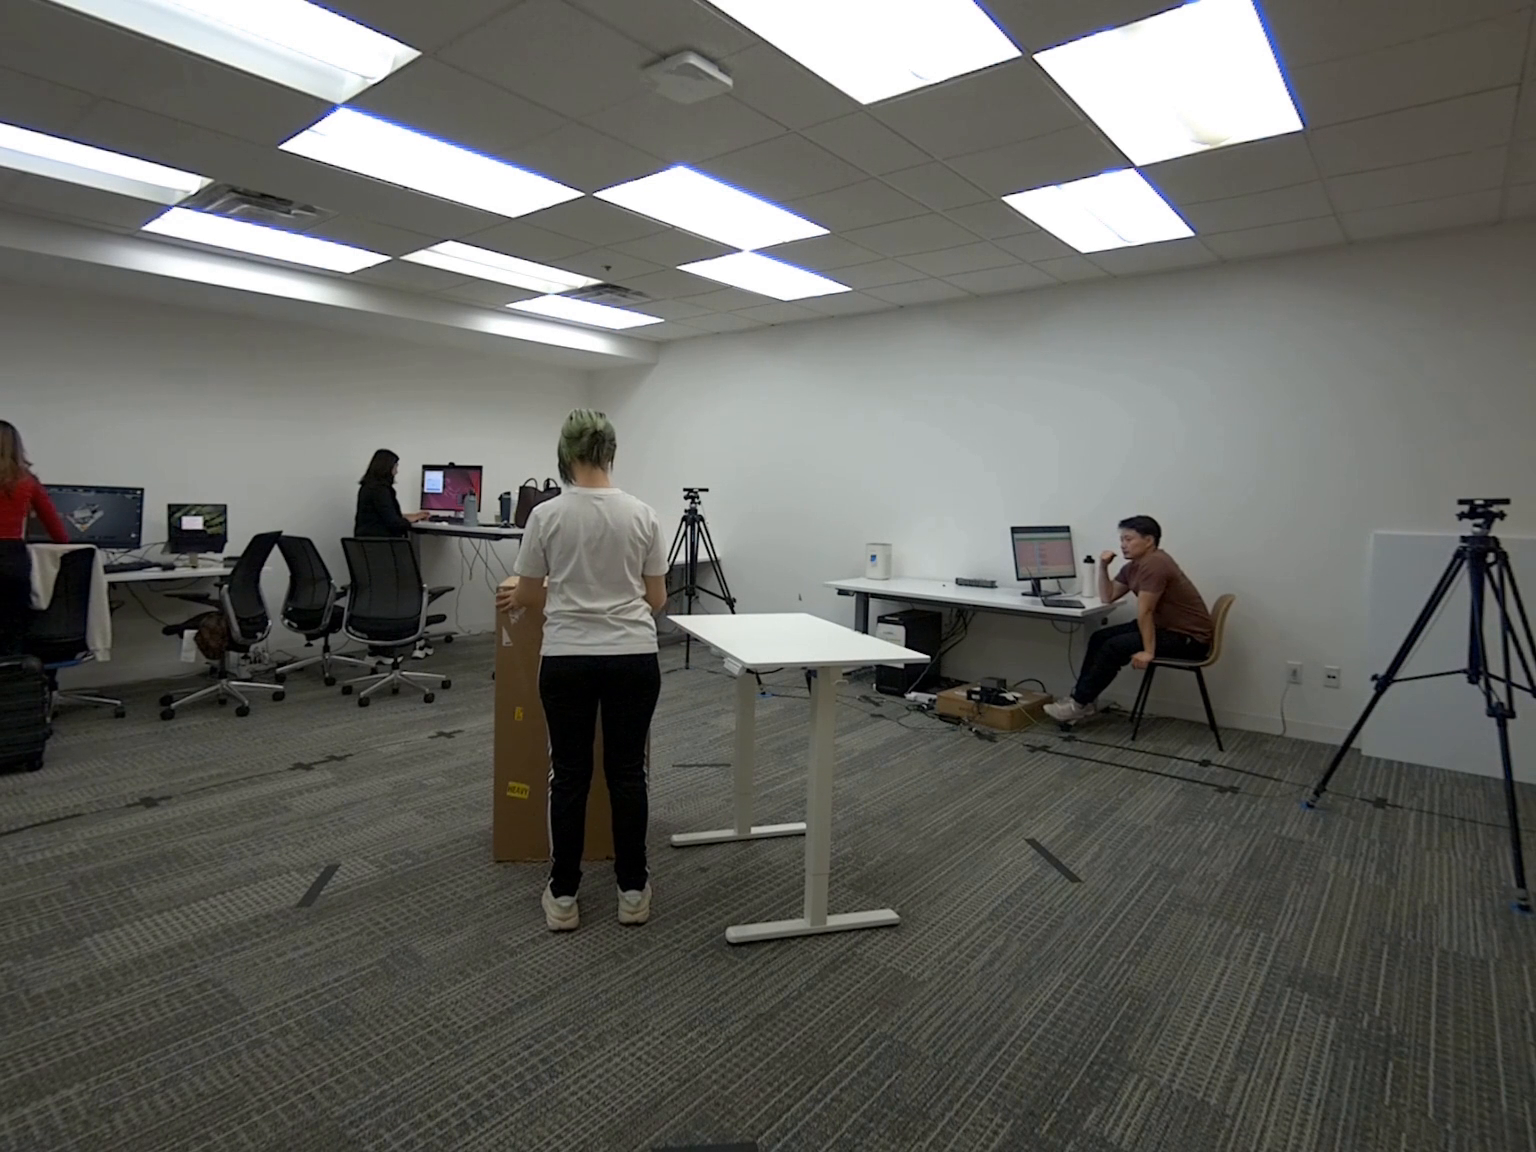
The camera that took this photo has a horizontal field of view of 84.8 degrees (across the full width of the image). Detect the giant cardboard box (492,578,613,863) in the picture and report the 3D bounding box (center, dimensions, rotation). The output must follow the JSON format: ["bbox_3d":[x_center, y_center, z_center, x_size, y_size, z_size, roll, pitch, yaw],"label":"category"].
[{"bbox_3d":[-0.771,0.532,3.354,0.579,1.025,0.451,1,2,-8],"label":"giant cardboard box"}]
